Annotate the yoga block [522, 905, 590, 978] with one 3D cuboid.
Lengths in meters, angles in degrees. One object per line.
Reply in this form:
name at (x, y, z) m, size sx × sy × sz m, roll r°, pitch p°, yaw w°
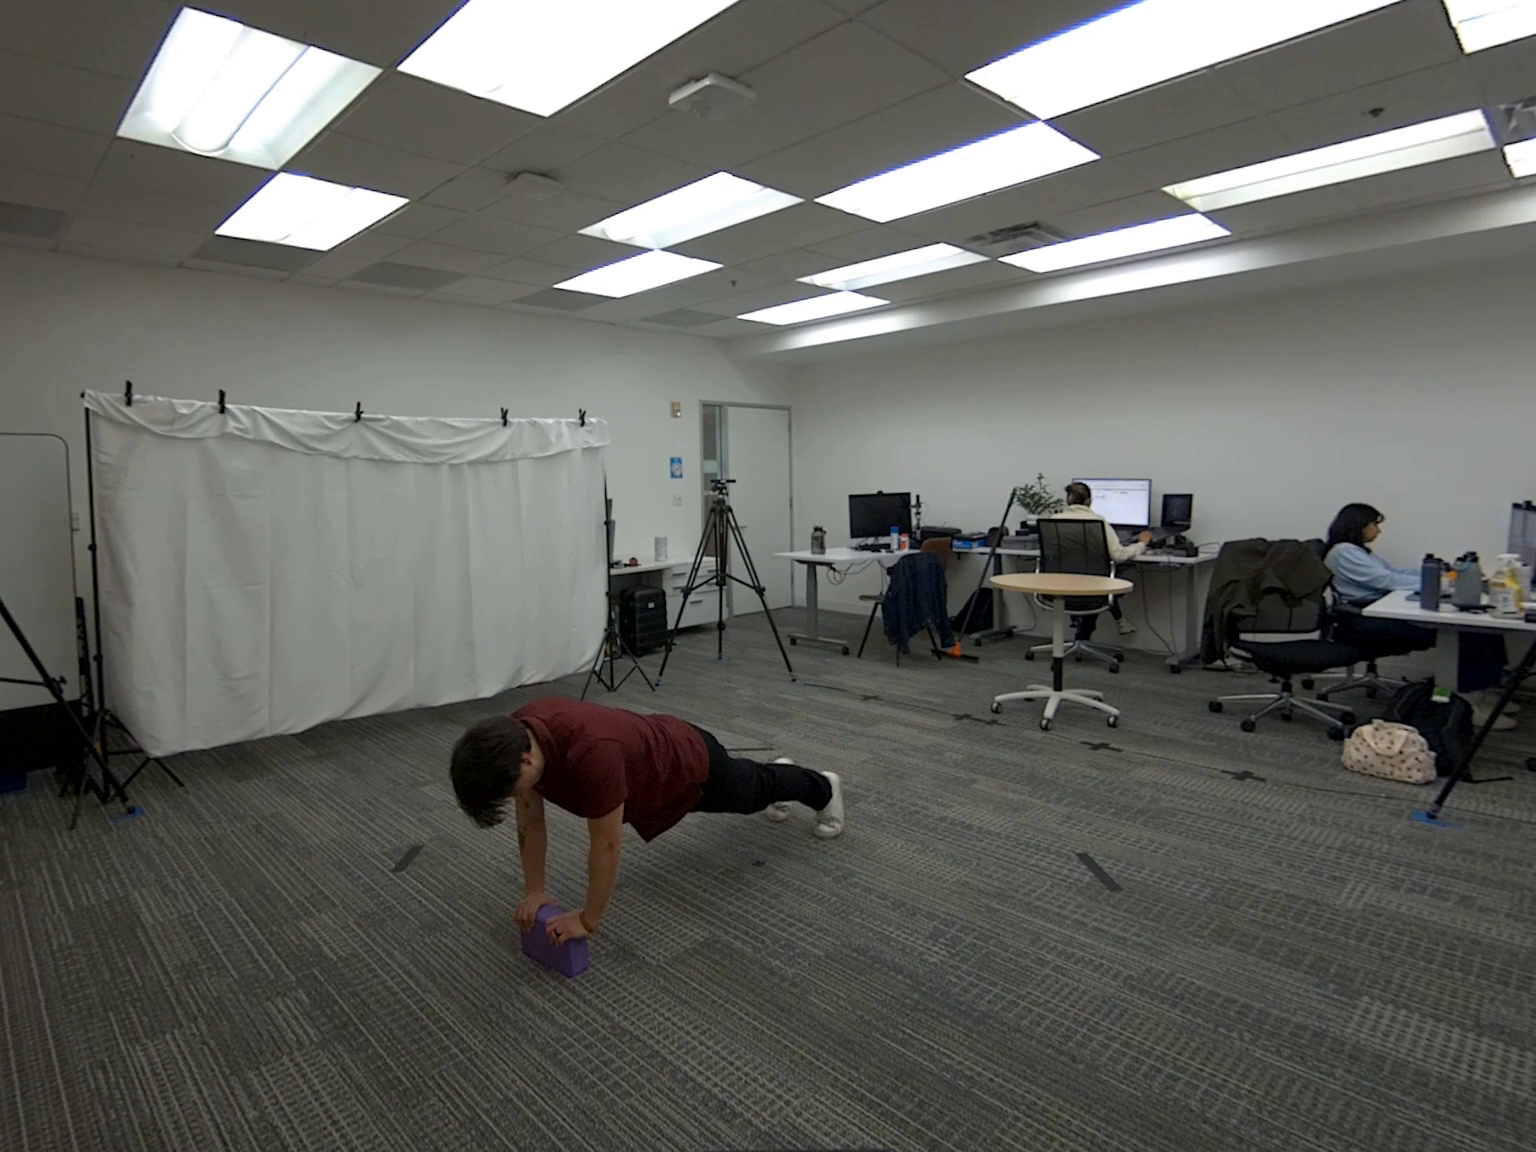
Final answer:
yoga block at (-0.624, 1.061, 2.504) m, size 0.236 × 0.148 × 0.074 m, roll 3°, pitch 7°, yaw 38°
